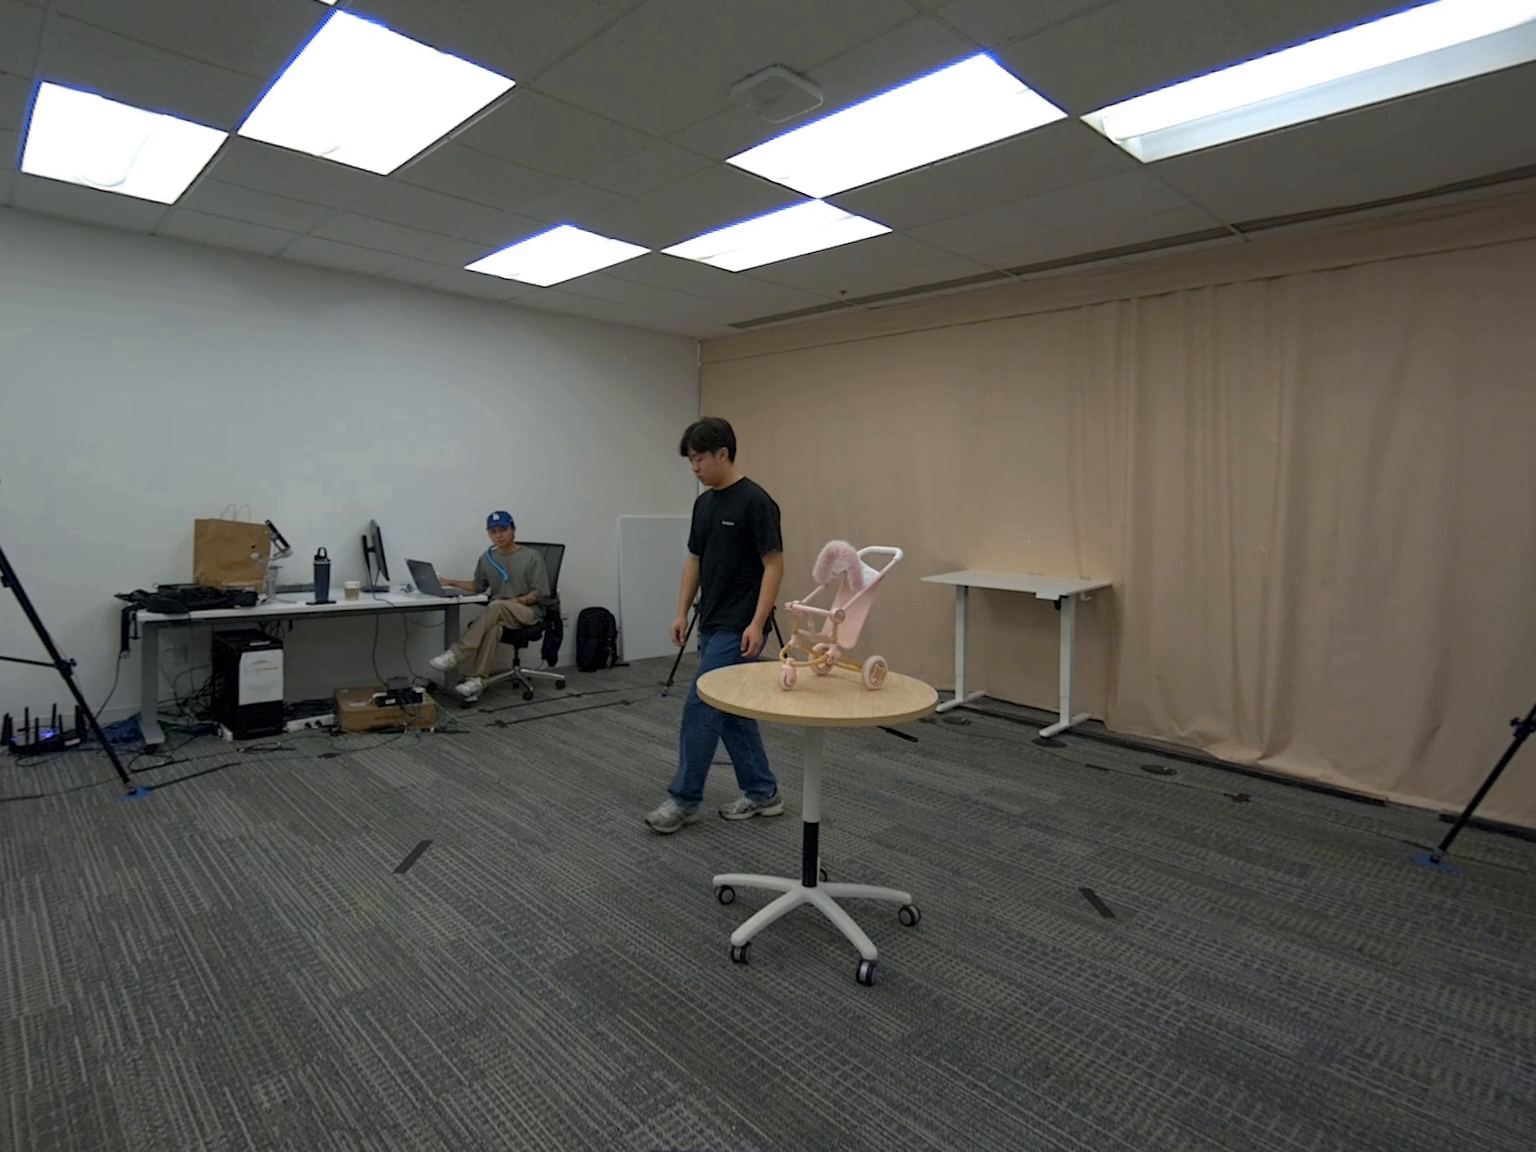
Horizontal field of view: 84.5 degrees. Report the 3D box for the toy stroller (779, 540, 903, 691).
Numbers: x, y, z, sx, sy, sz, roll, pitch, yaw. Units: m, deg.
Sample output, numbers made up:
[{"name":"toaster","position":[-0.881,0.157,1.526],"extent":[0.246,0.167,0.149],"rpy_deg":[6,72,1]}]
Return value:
[{"name":"toy stroller","position":[0.207,0.130,2.723],"extent":[0.333,0.536,0.288],"rpy_deg":[15,-4,-32]}]
